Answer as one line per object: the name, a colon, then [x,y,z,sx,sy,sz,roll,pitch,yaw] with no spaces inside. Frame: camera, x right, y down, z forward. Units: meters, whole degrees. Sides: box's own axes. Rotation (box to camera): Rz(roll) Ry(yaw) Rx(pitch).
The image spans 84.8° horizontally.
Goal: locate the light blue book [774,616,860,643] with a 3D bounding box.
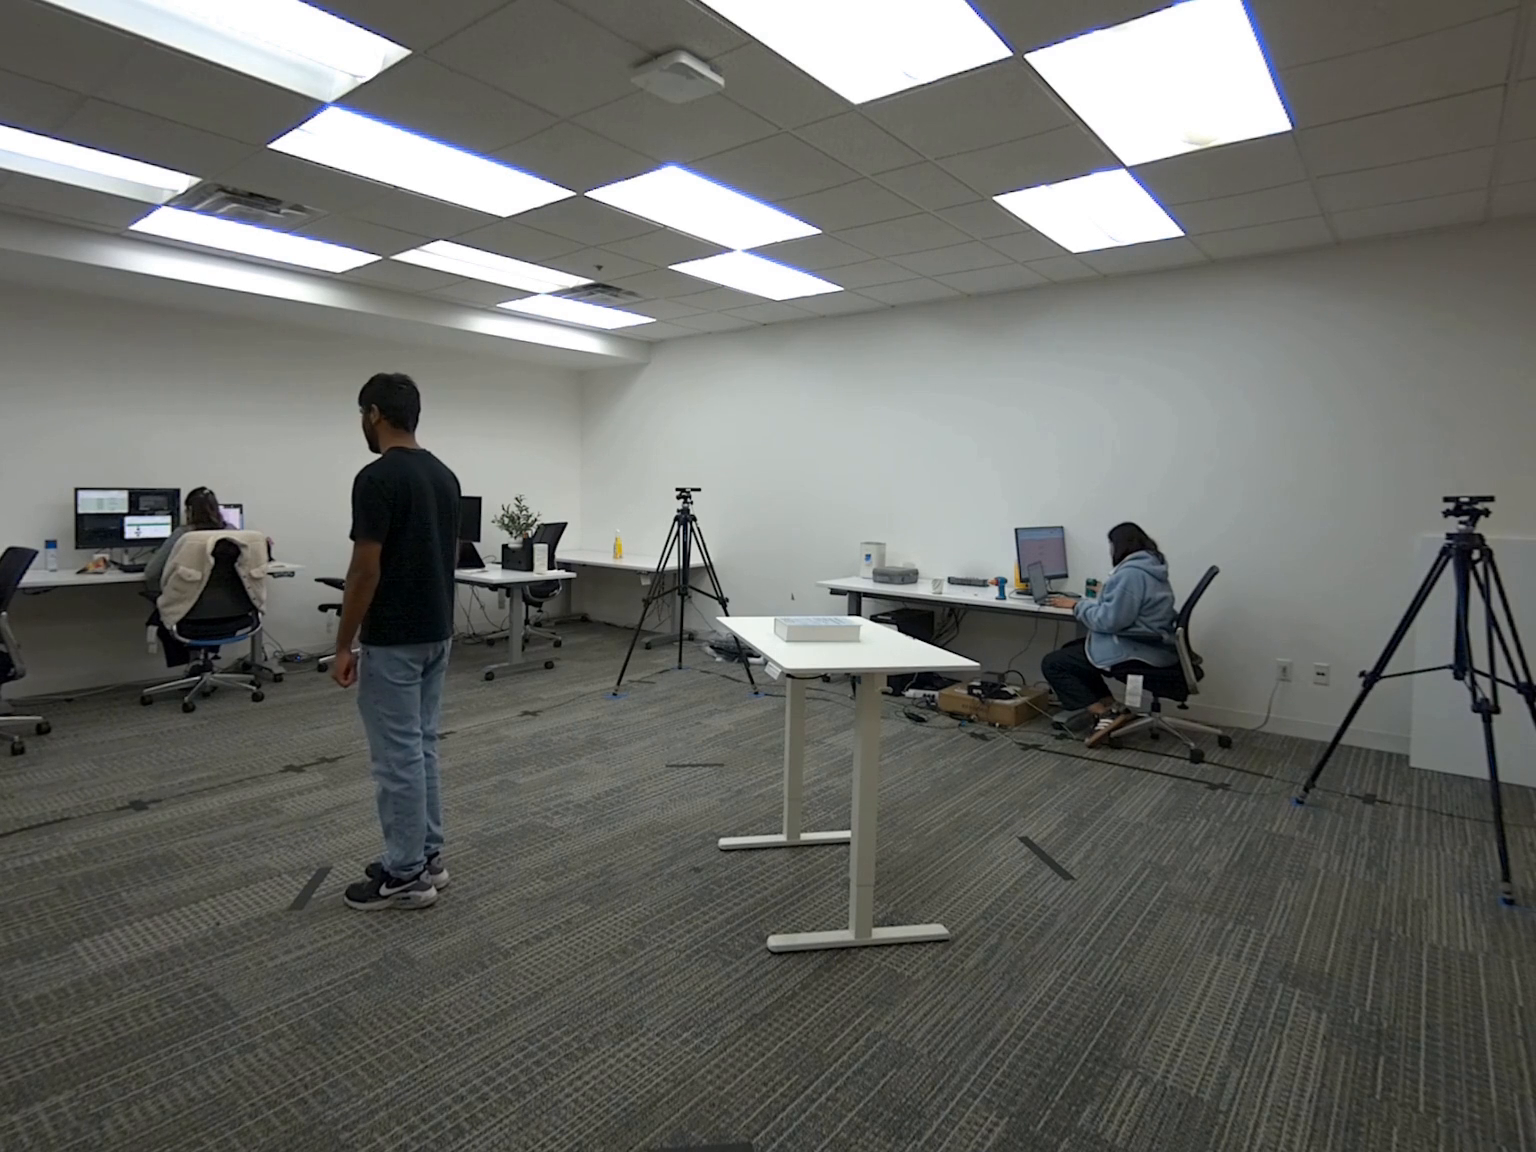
light blue book: [0.160,0.186,2.924,0.258,0.059,0.194,1,5,-9]
